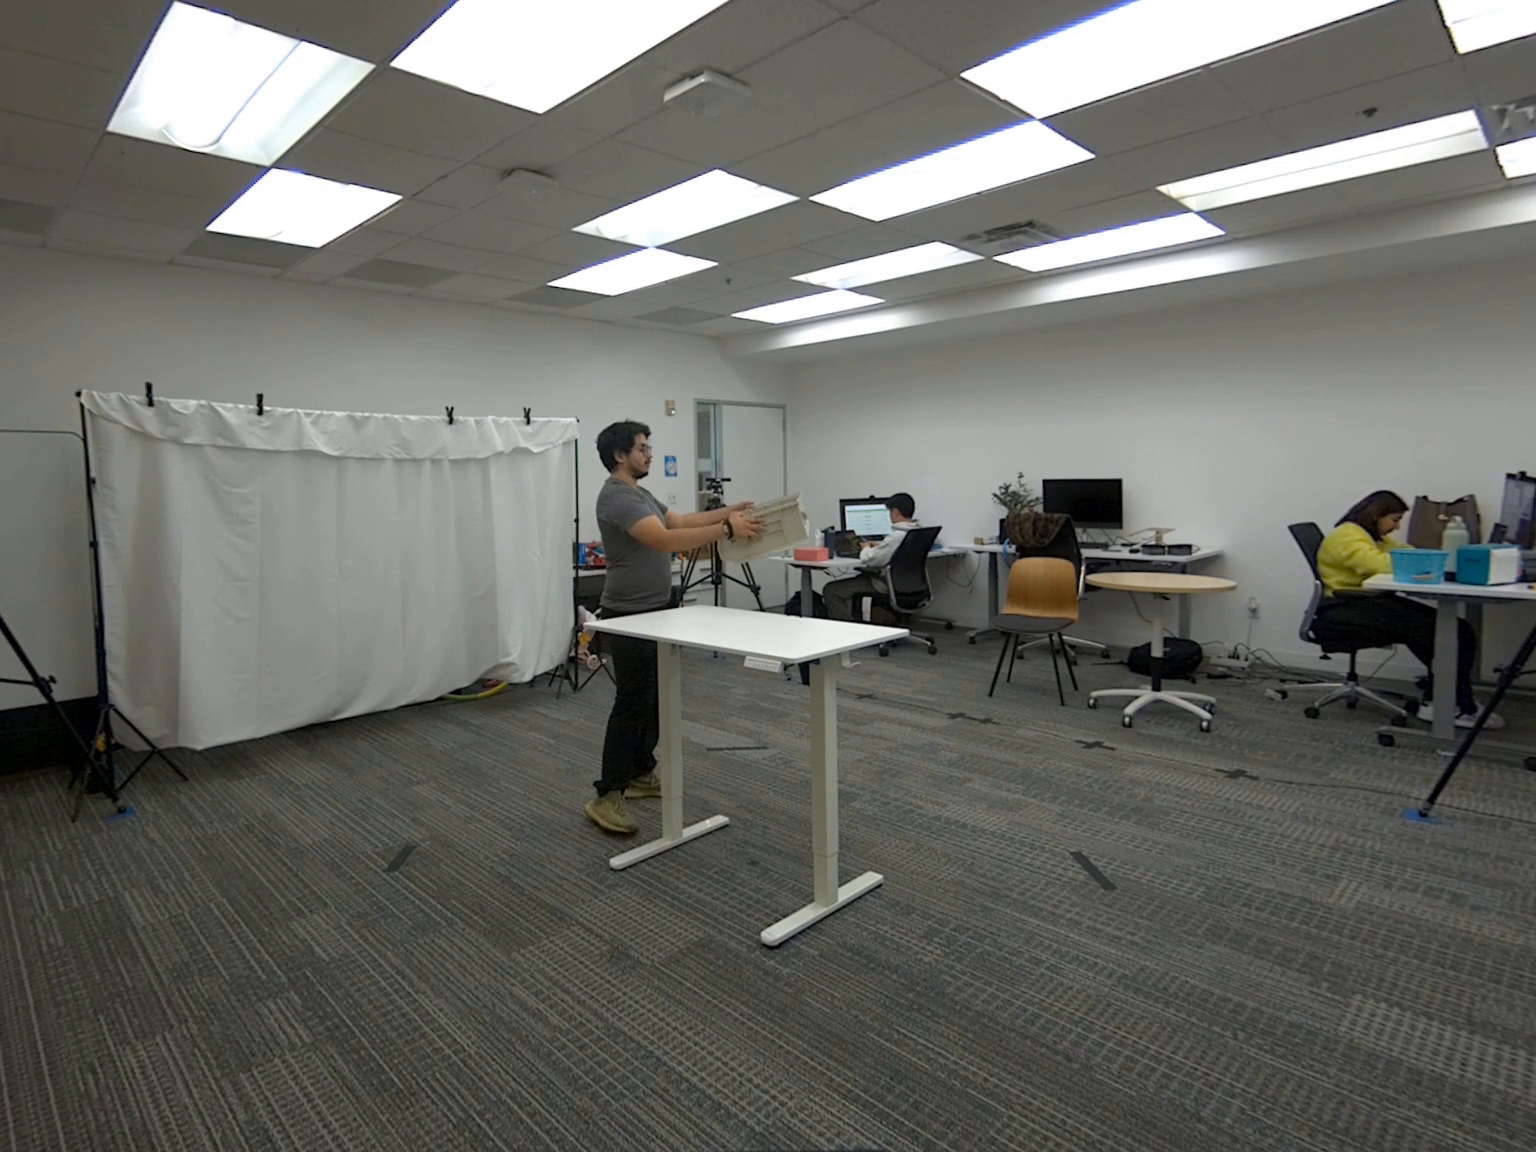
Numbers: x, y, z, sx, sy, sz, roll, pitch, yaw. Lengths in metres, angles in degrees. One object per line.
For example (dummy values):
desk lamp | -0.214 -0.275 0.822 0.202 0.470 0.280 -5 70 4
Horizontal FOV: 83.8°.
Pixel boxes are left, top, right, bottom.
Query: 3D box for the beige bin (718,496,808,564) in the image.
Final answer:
beige bin | -0.024 -0.197 3.659 0.378 0.188 0.424 -16 7 3
